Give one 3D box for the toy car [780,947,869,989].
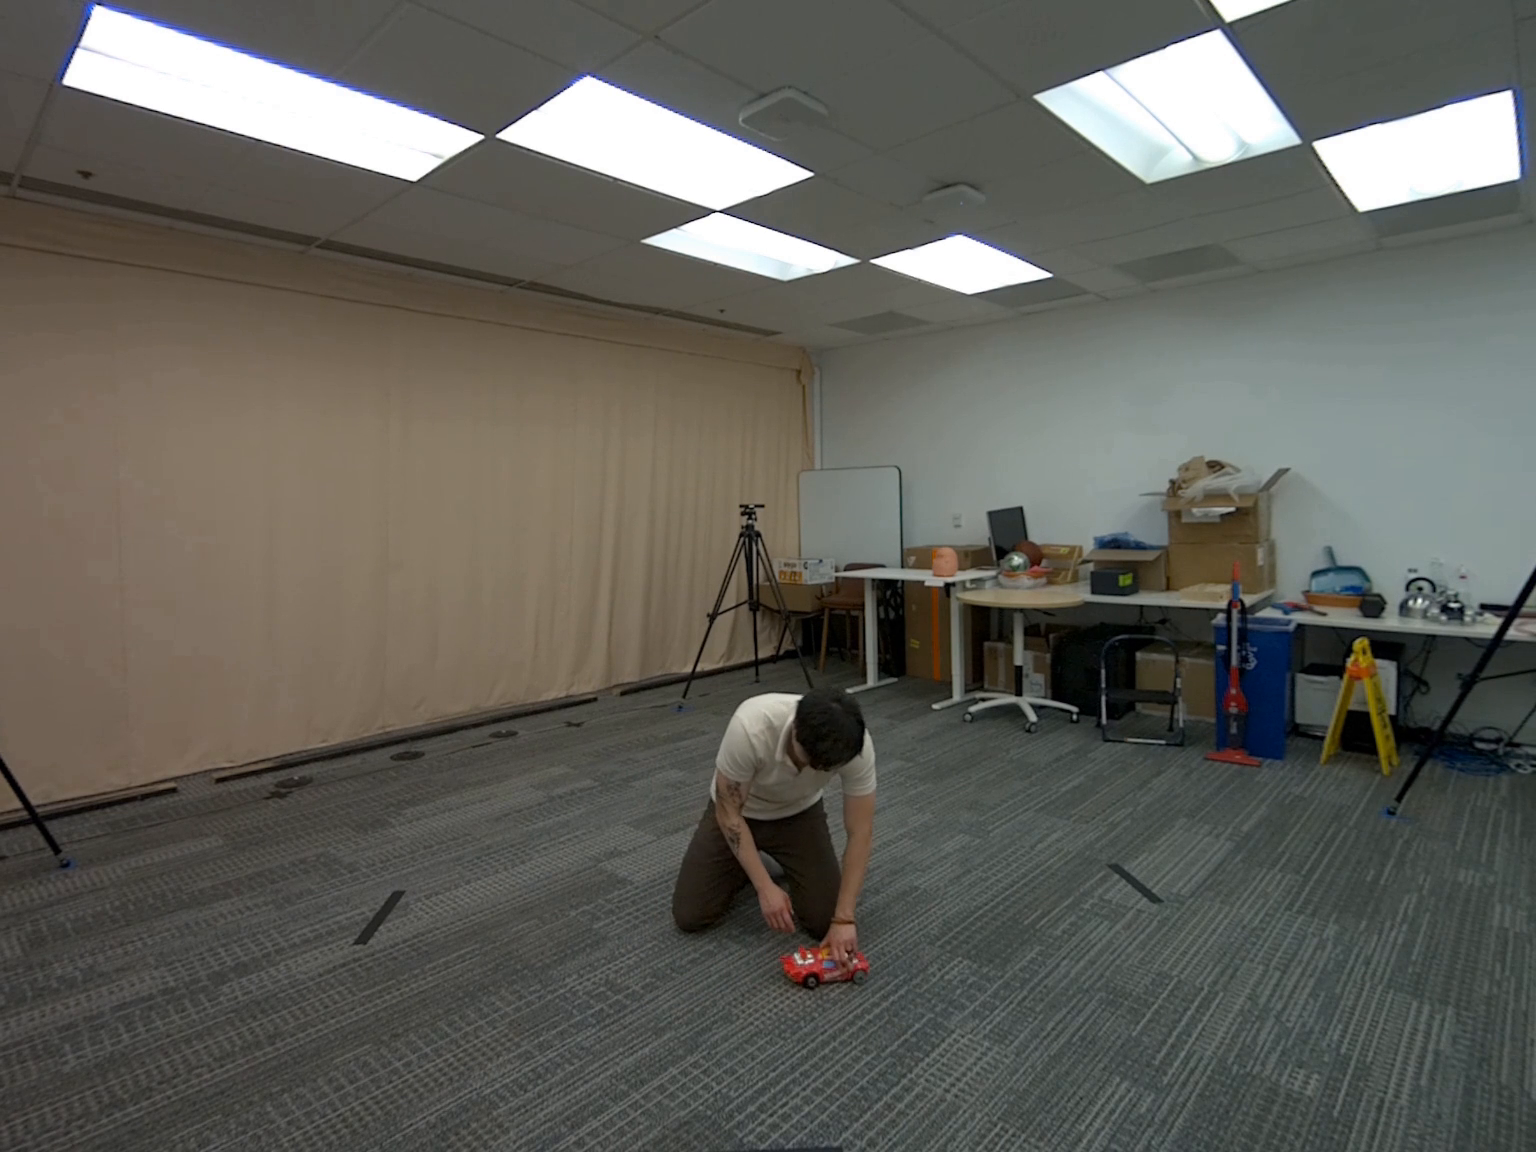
[{"bbox_3d":[0.152,1.144,2.481,0.252,0.083,0.132,9,5,-10],"label":"toy car"}]
